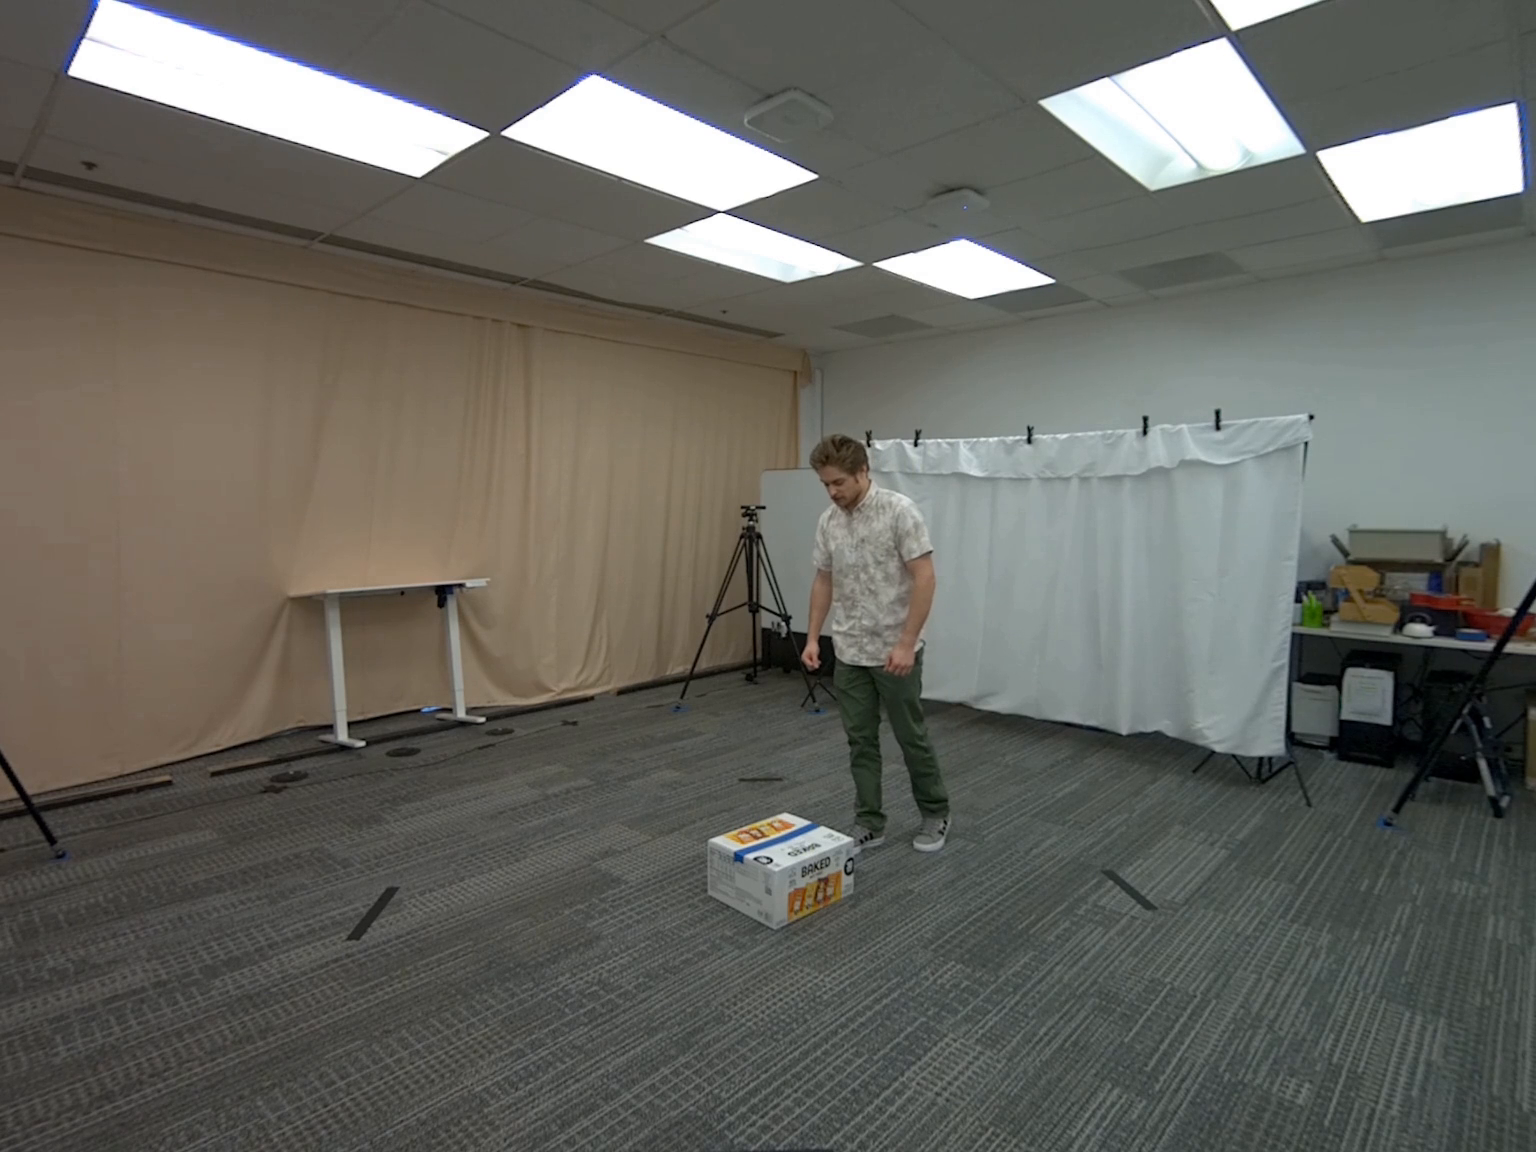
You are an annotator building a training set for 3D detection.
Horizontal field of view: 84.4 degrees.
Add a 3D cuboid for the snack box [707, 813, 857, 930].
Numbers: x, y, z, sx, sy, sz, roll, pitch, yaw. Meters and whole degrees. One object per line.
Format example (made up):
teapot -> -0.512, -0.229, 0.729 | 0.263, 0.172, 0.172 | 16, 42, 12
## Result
snack box -> 0.049, 1.040, 3.004 | 0.393, 0.205, 0.352 | -4, 6, -43
